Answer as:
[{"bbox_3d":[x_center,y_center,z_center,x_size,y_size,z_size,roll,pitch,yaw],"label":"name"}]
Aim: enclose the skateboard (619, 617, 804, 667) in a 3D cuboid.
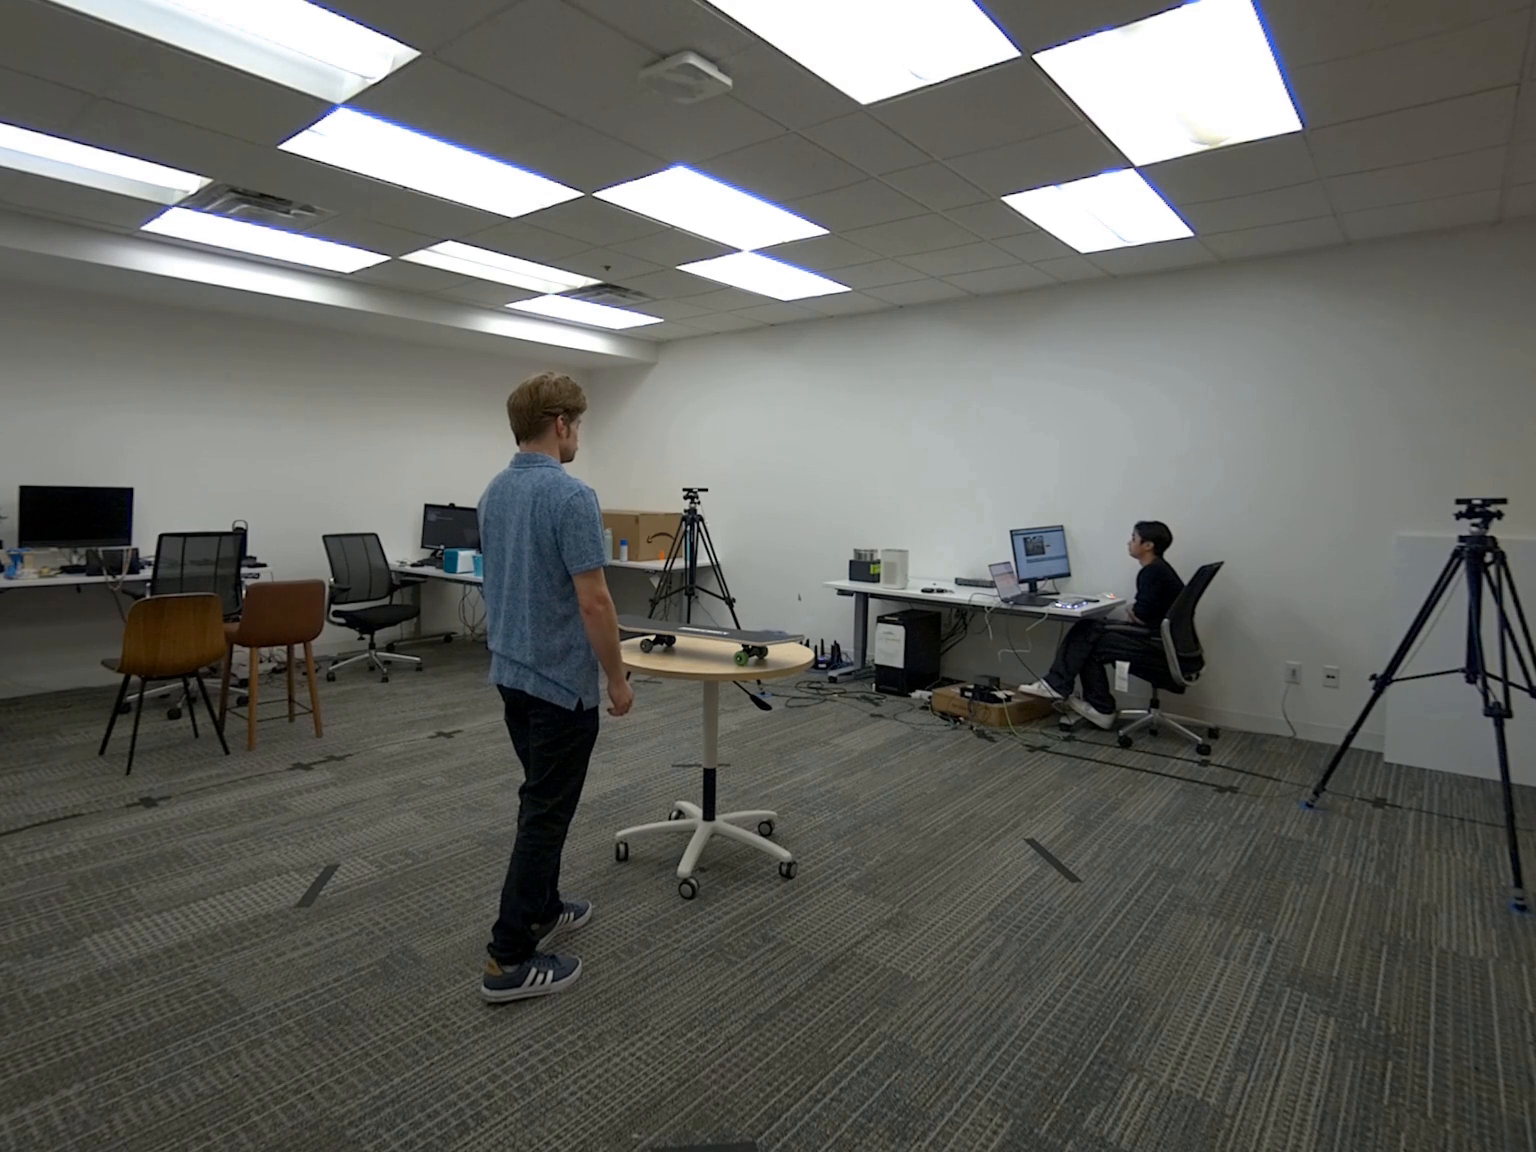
[{"bbox_3d":[-0.246,0.240,3.100,0.808,0.110,0.189,3,6,29],"label":"skateboard"}]
